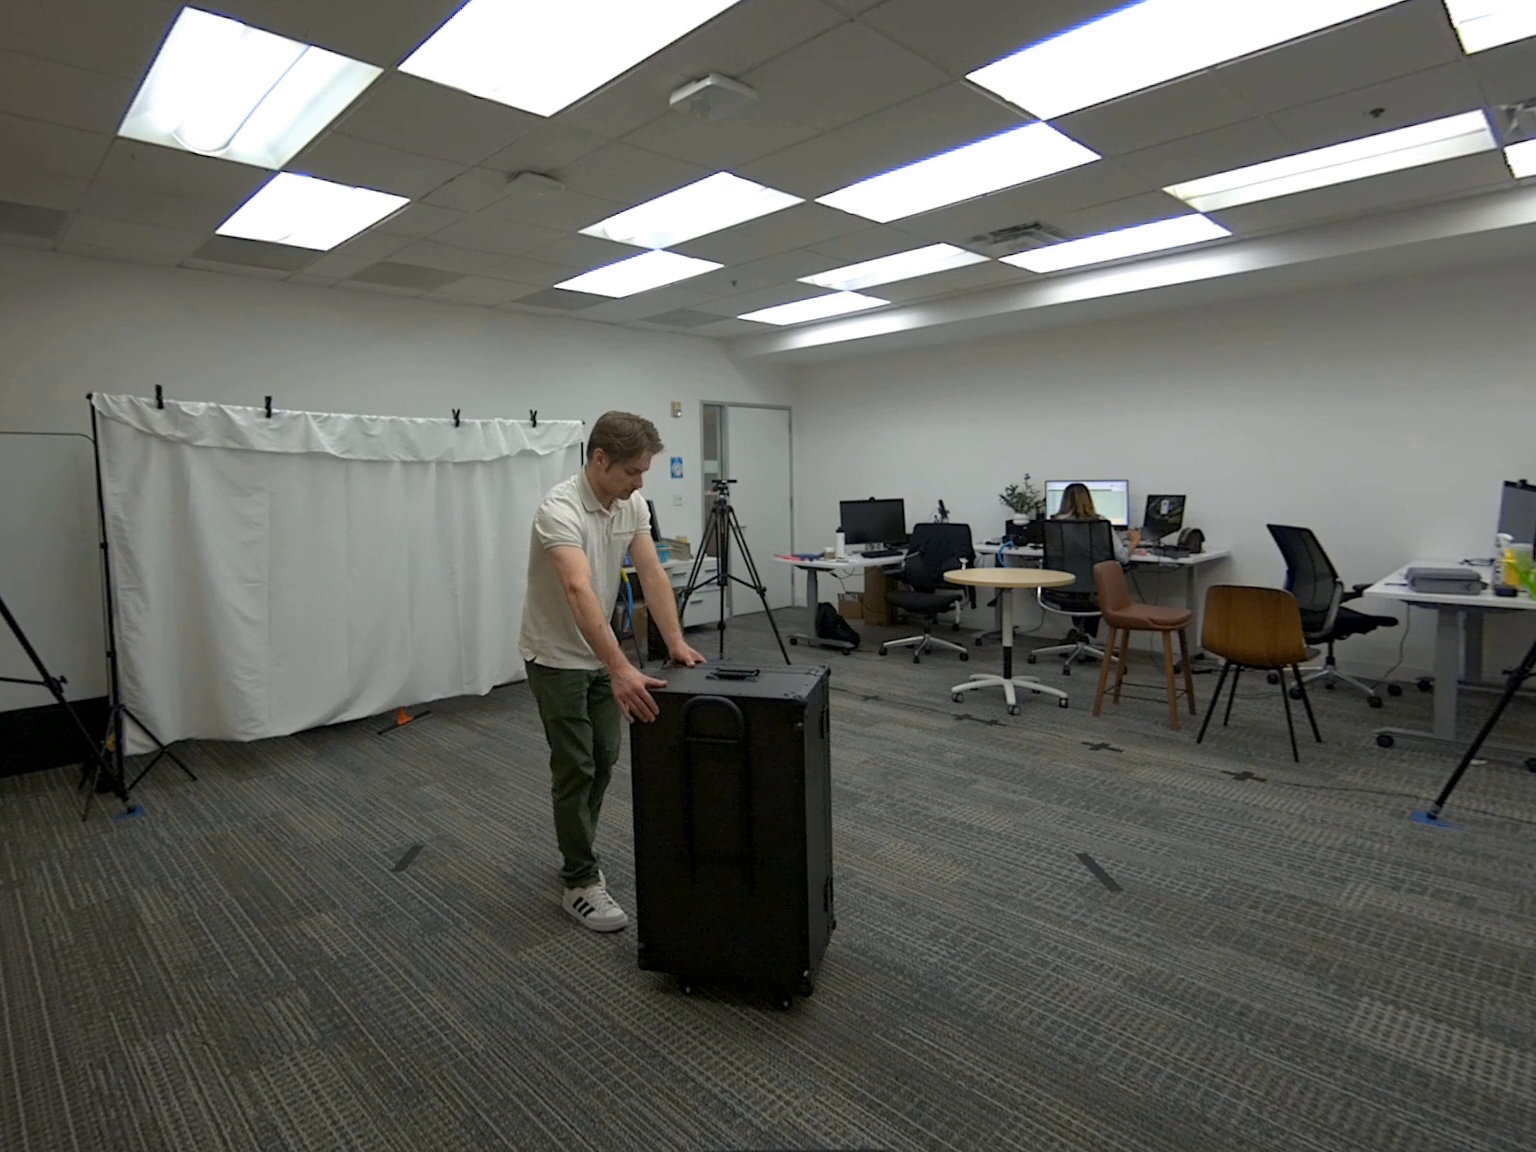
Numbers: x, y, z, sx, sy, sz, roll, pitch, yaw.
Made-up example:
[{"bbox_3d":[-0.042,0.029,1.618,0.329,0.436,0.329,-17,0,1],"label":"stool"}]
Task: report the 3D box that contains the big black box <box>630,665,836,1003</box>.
[{"bbox_3d":[-0.083,0.707,2.392,0.532,0.865,0.380,-1,4,17],"label":"big black box"}]
